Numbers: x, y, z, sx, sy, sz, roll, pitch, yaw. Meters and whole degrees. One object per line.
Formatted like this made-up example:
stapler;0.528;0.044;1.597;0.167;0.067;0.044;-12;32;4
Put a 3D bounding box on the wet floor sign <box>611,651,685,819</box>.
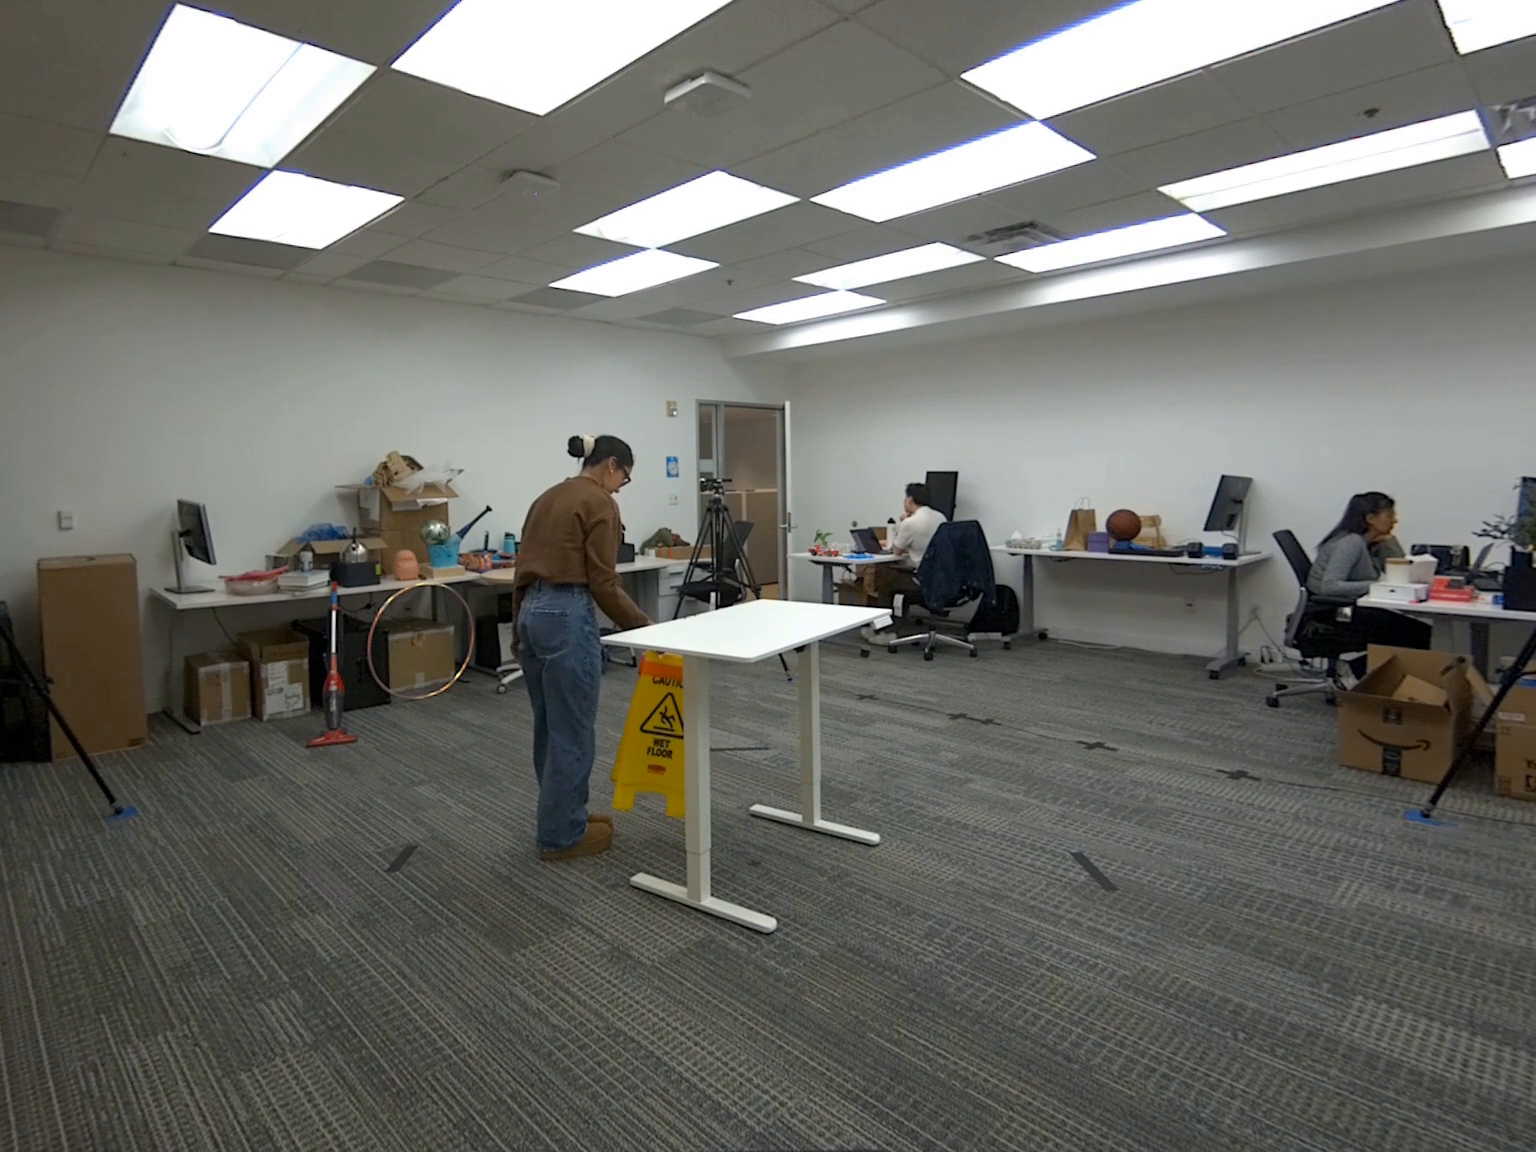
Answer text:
wet floor sign;-0.406;0.543;3.253;0.279;0.644;0.294;9;5;-11
